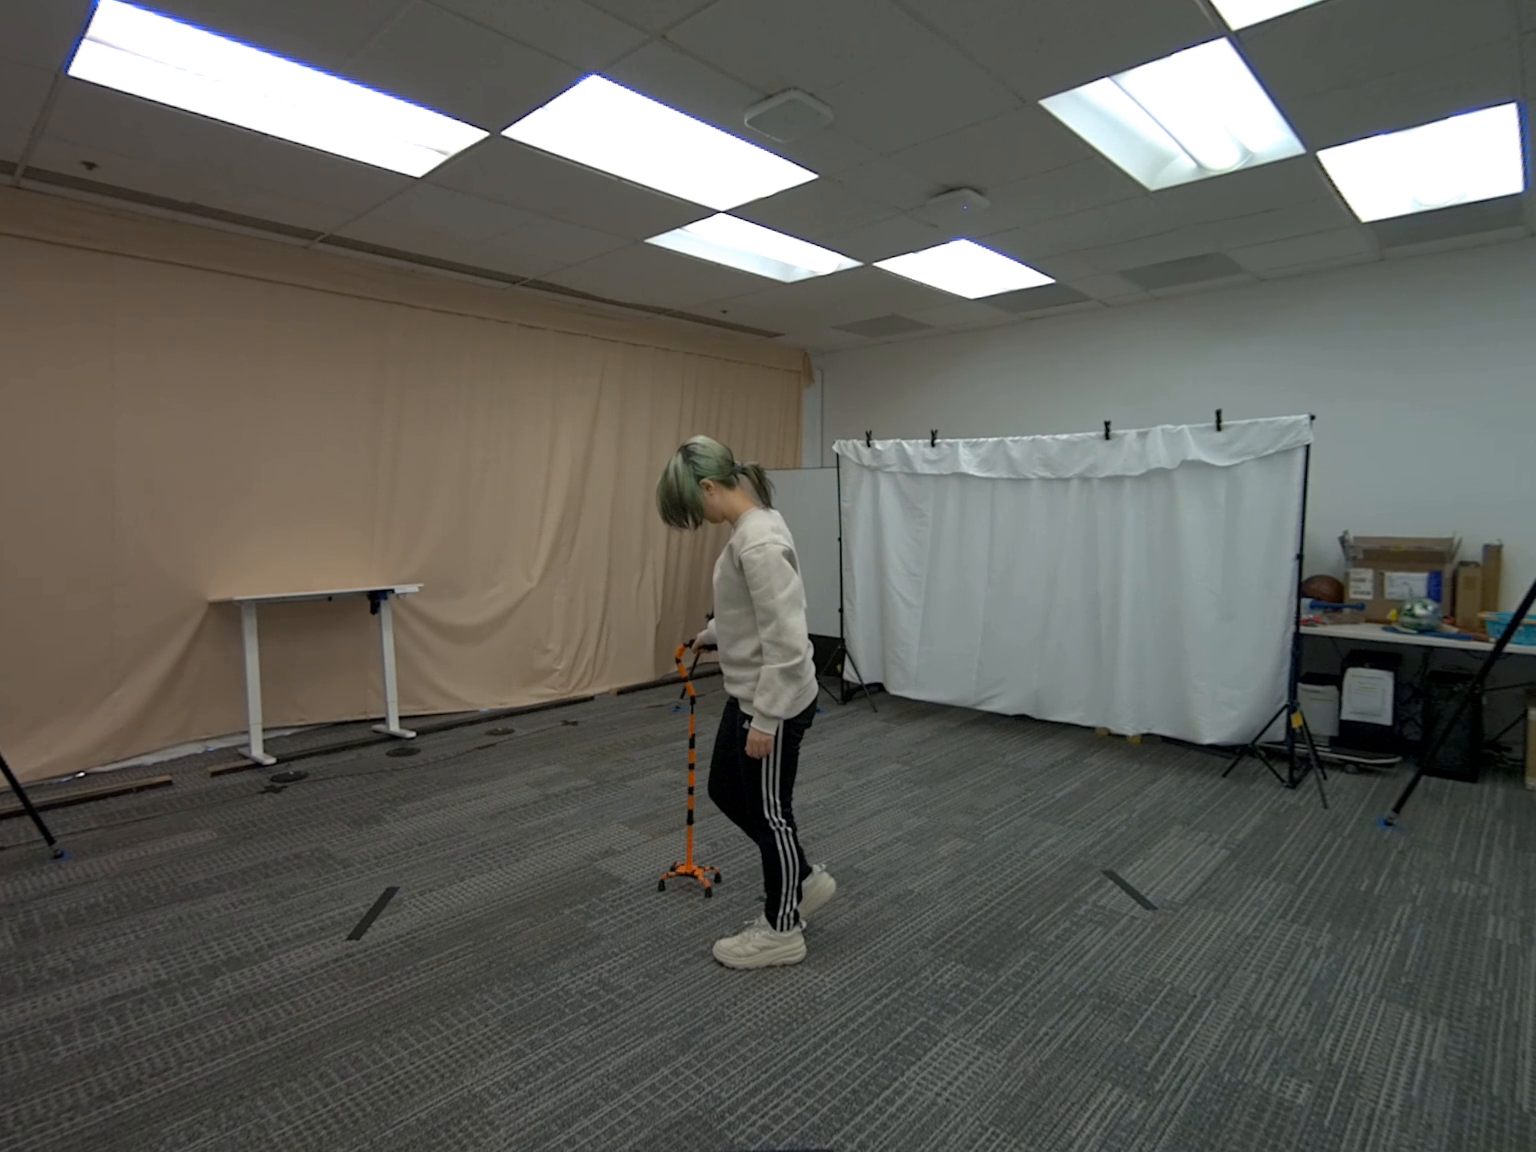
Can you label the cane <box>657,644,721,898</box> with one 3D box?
[{"bbox_3d":[-0.275,0.681,3.055,0.210,0.906,0.150,2,4,13],"label":"cane"}]
